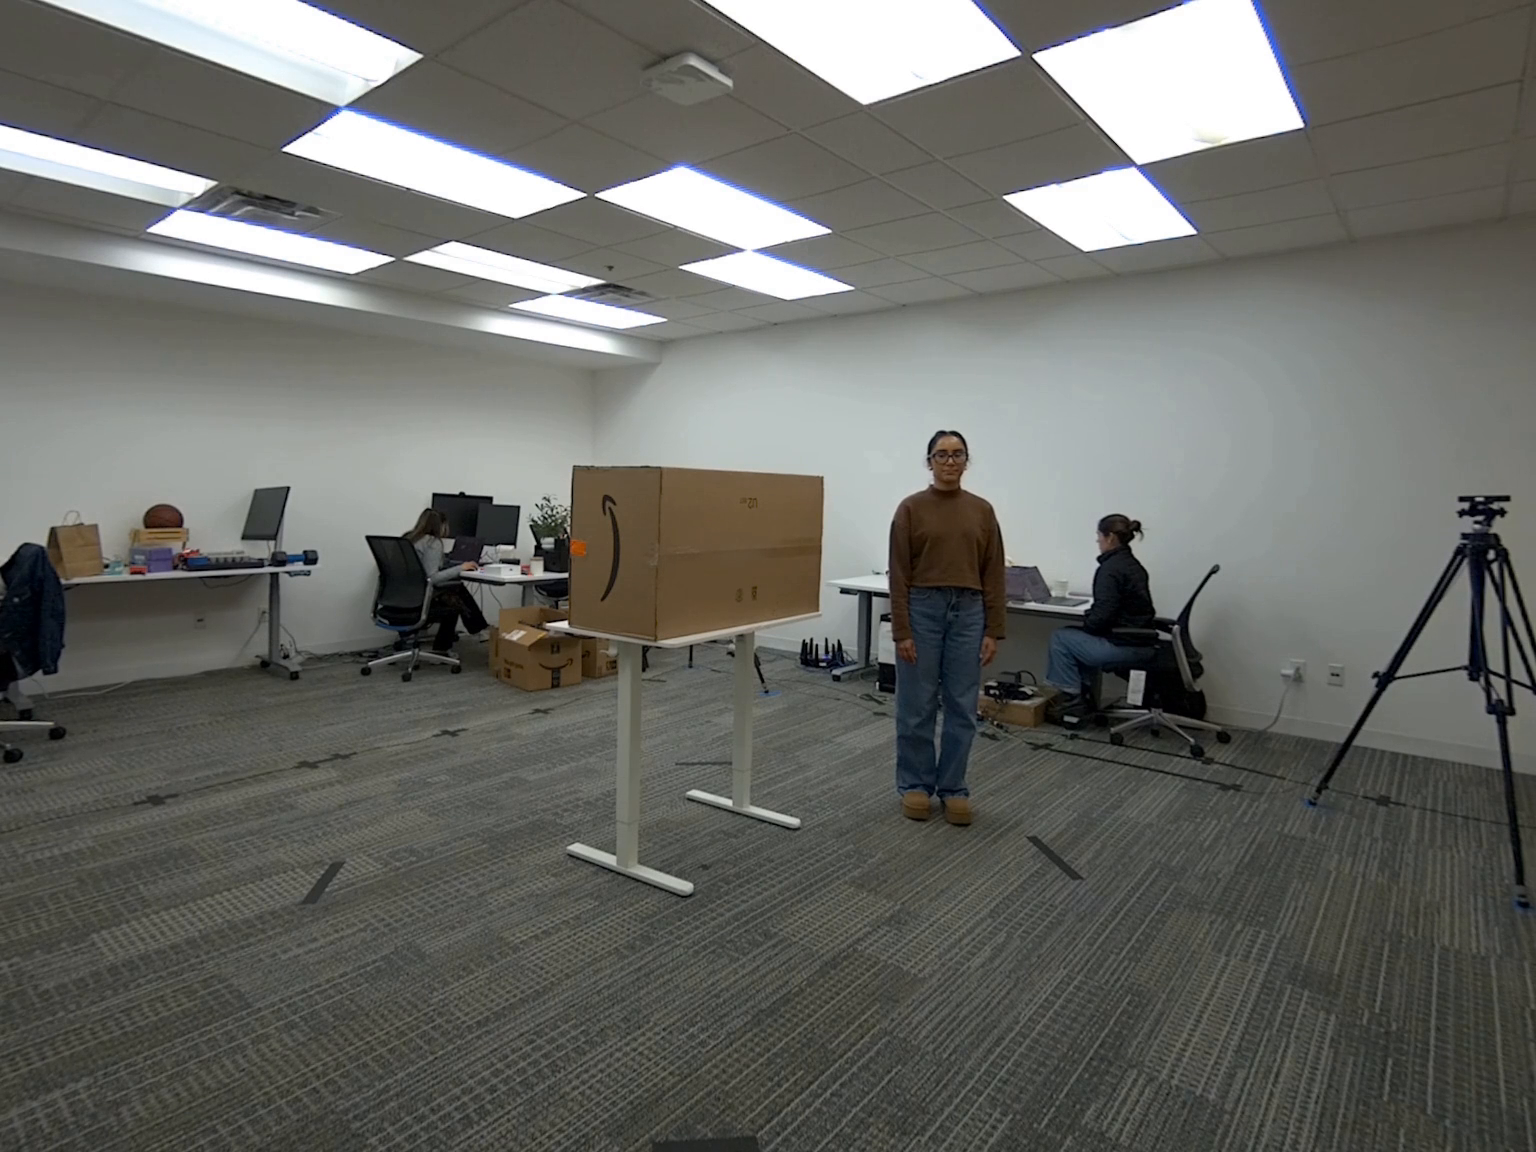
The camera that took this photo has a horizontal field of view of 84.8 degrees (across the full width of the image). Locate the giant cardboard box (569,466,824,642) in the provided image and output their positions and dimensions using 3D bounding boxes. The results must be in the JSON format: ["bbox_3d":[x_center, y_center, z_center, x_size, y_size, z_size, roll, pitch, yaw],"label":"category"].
[{"bbox_3d":[-0.251,-0.118,3.293,0.440,0.575,0.996,5,6,36],"label":"giant cardboard box"}]
